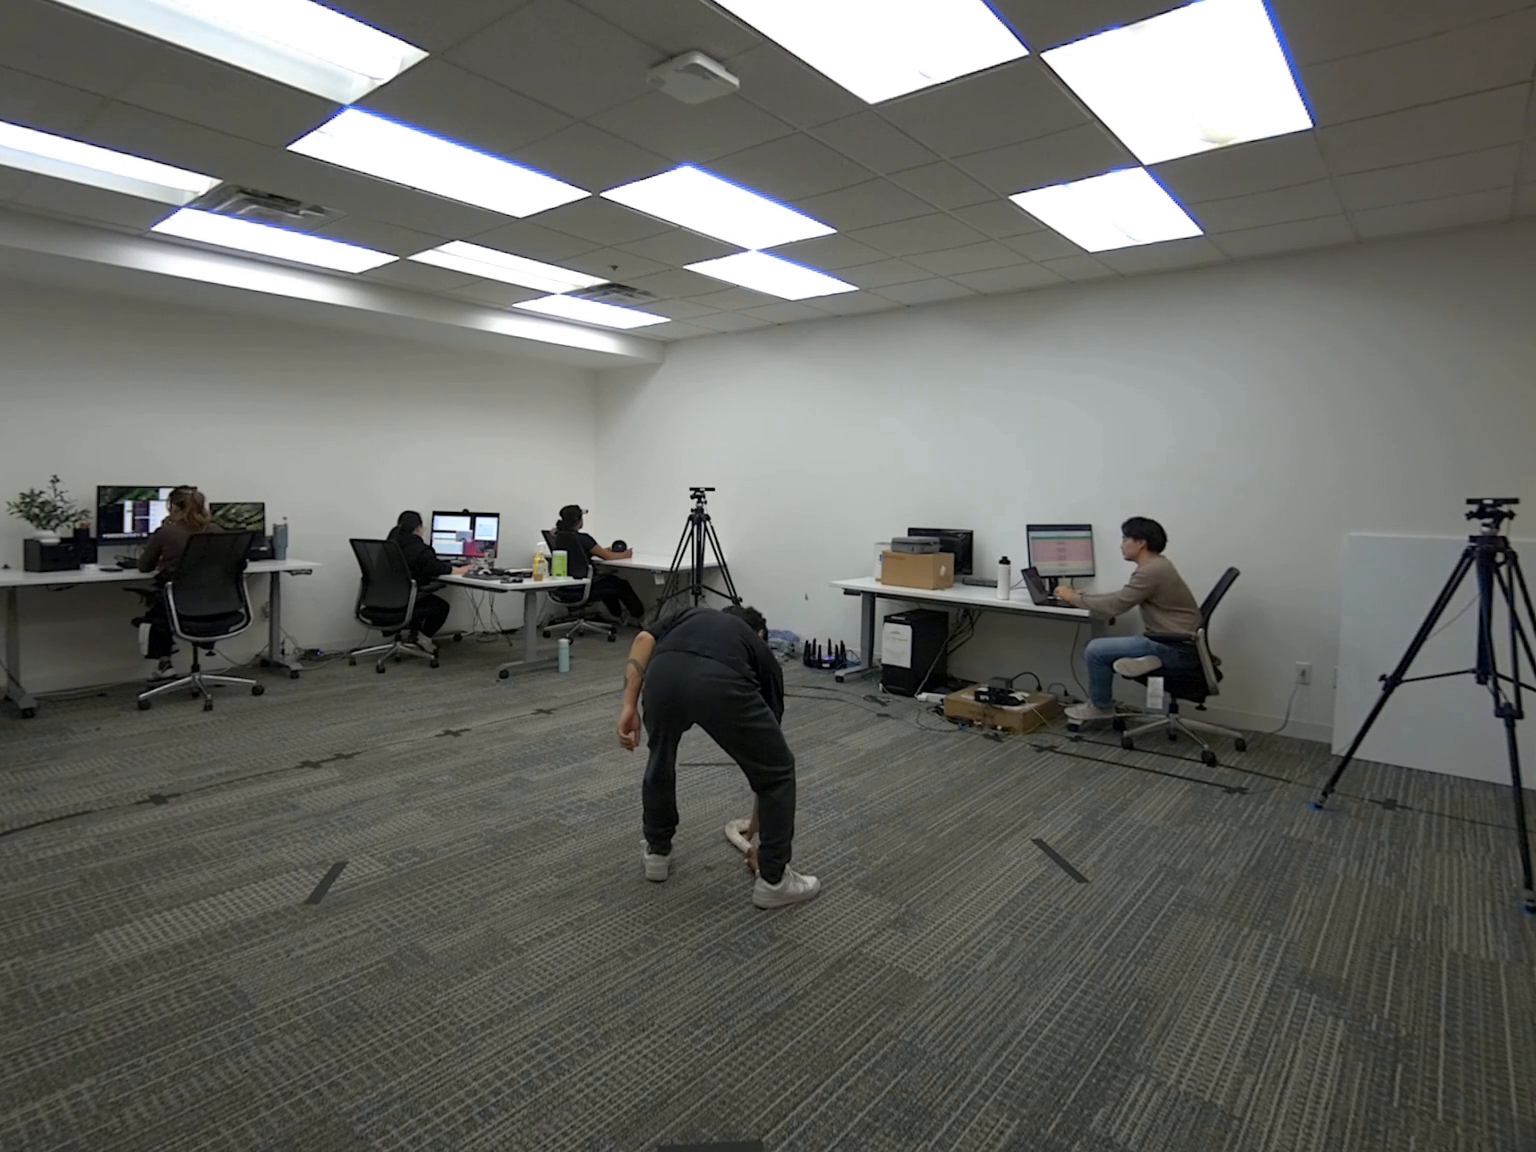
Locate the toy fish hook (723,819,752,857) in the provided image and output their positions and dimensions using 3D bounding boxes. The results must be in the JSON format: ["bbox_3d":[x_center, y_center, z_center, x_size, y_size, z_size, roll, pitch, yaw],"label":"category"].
[{"bbox_3d":[-0.035,1.026,3.257,0.222,0.048,0.514,-3,6,-12],"label":"toy fish hook"}]
